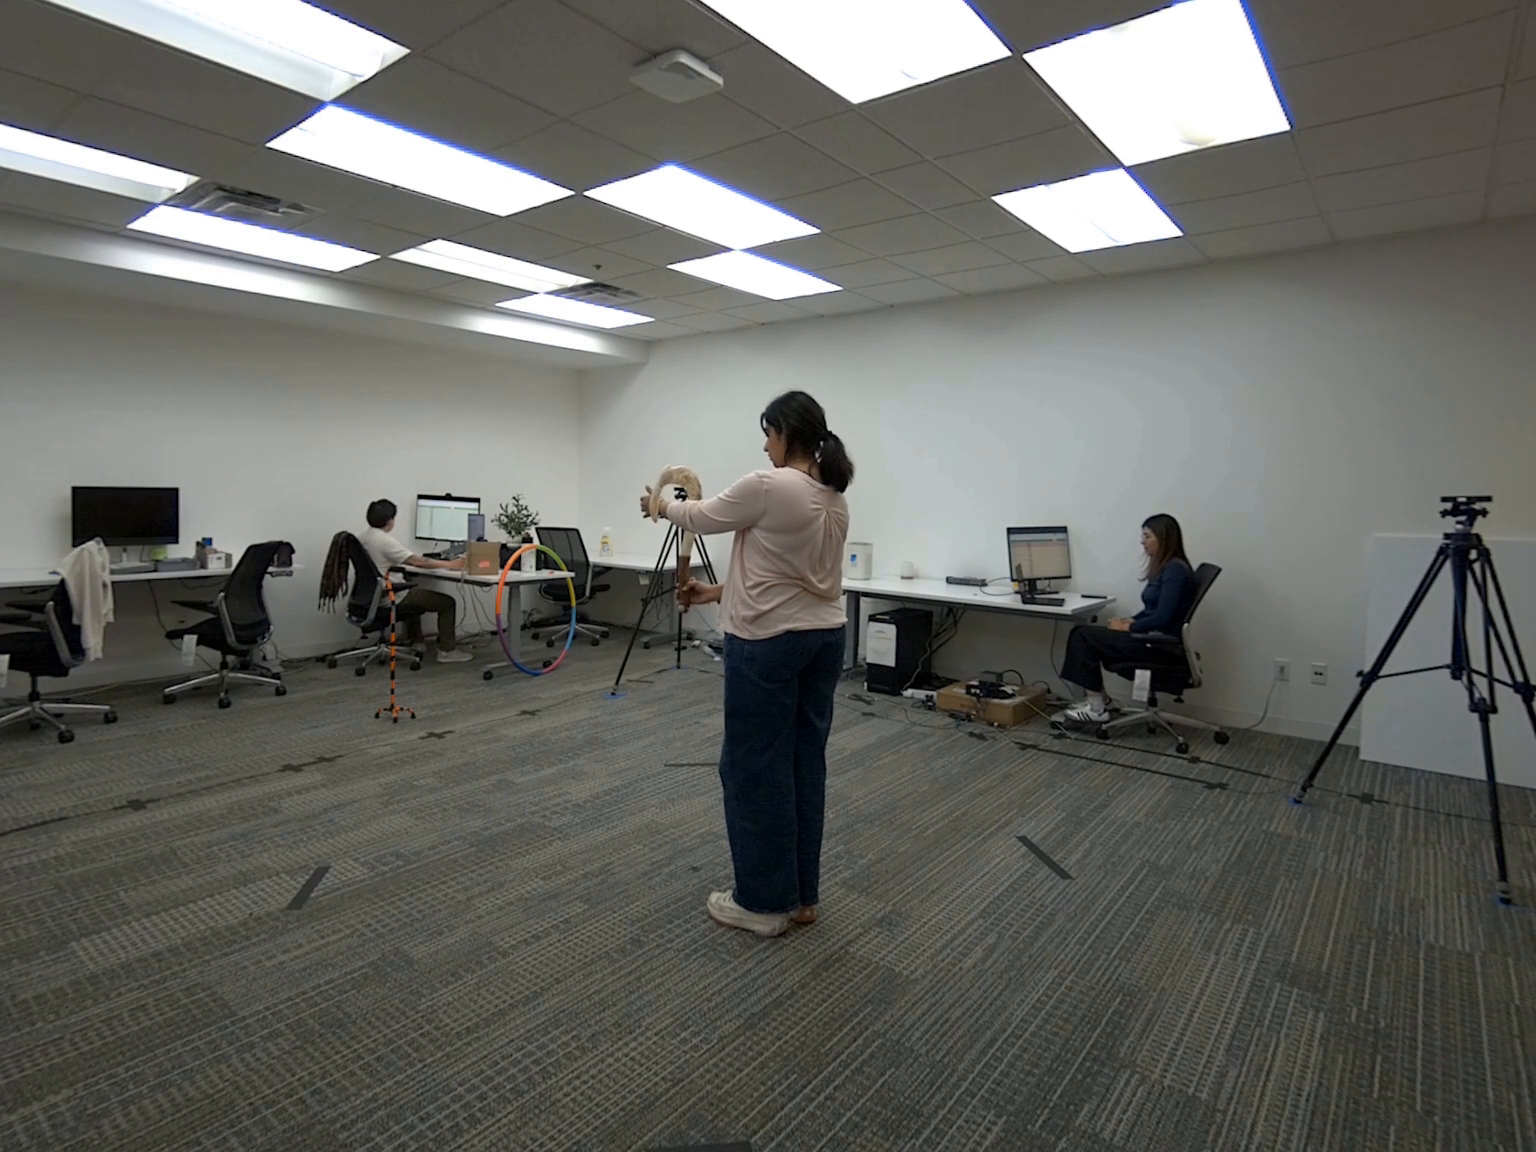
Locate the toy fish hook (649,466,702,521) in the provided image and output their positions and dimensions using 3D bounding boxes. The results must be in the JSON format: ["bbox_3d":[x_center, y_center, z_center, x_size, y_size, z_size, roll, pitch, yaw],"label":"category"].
[{"bbox_3d":[-0.331,-0.125,2.899,0.217,0.507,0.050,3,-1,-39],"label":"toy fish hook"}]
